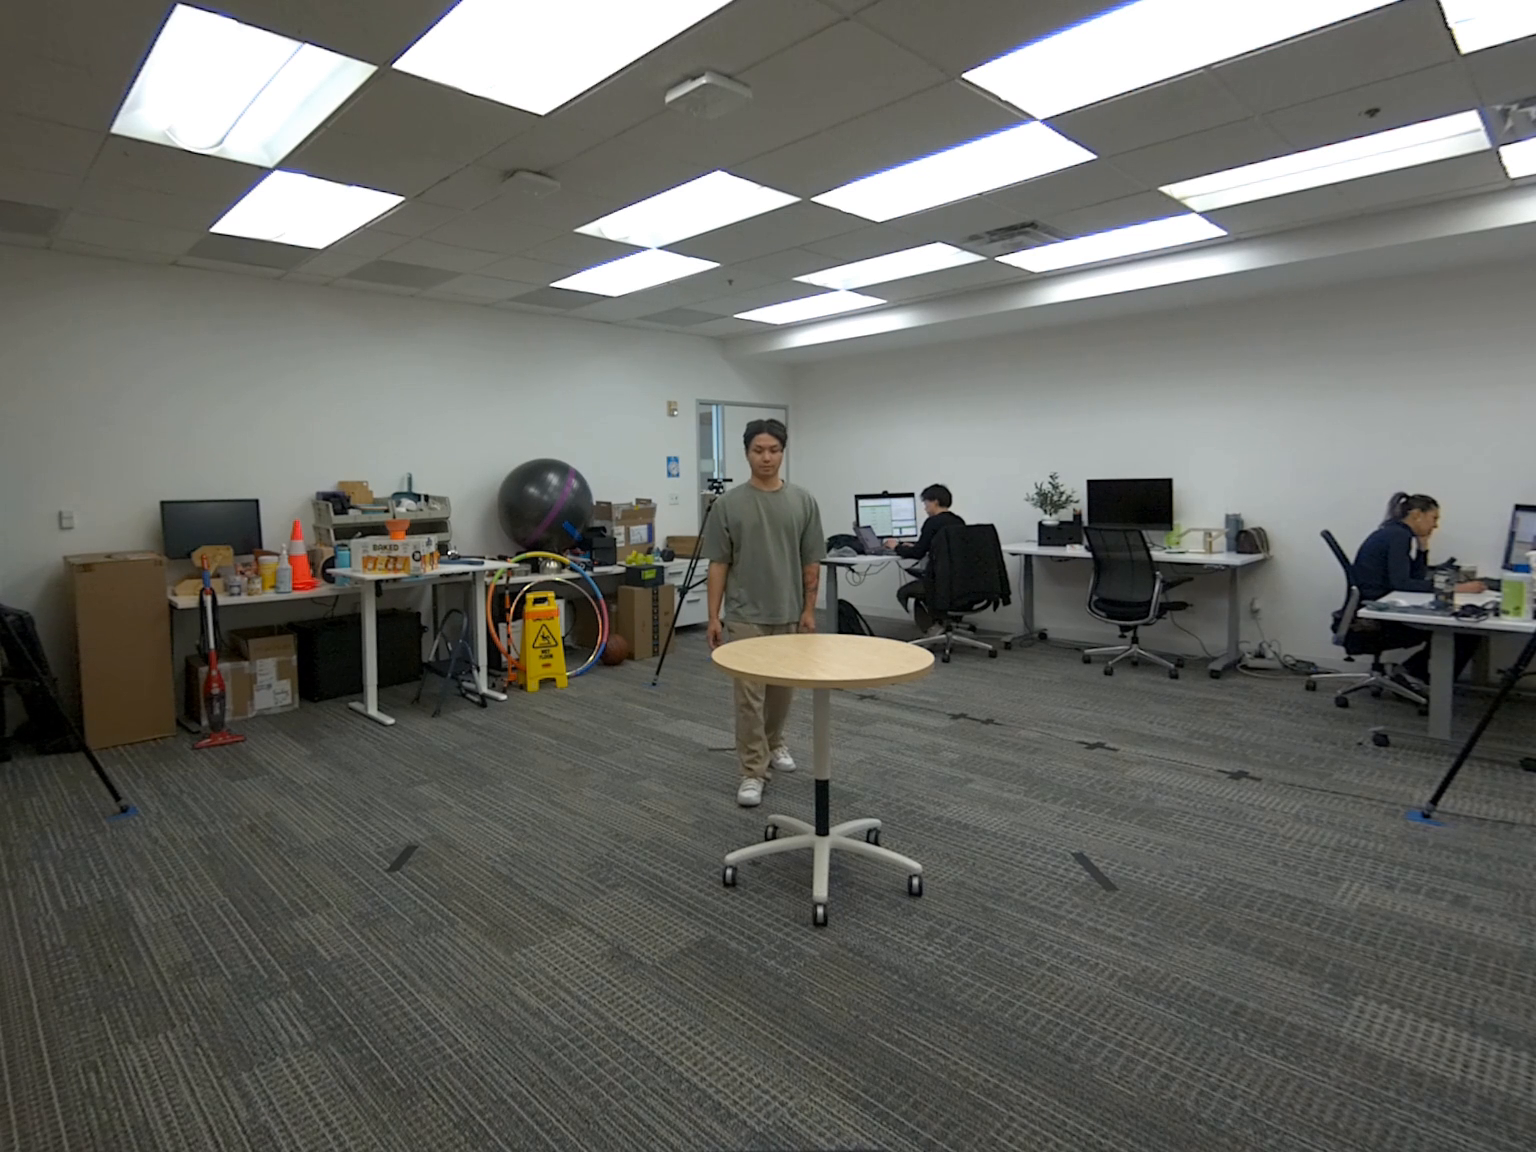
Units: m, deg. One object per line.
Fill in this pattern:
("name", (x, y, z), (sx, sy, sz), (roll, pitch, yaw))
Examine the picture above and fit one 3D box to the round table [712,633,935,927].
("round table", (0.198, 0.664, 2.982), (0.784, 0.783, 0.789), (-1, 5, -2))
